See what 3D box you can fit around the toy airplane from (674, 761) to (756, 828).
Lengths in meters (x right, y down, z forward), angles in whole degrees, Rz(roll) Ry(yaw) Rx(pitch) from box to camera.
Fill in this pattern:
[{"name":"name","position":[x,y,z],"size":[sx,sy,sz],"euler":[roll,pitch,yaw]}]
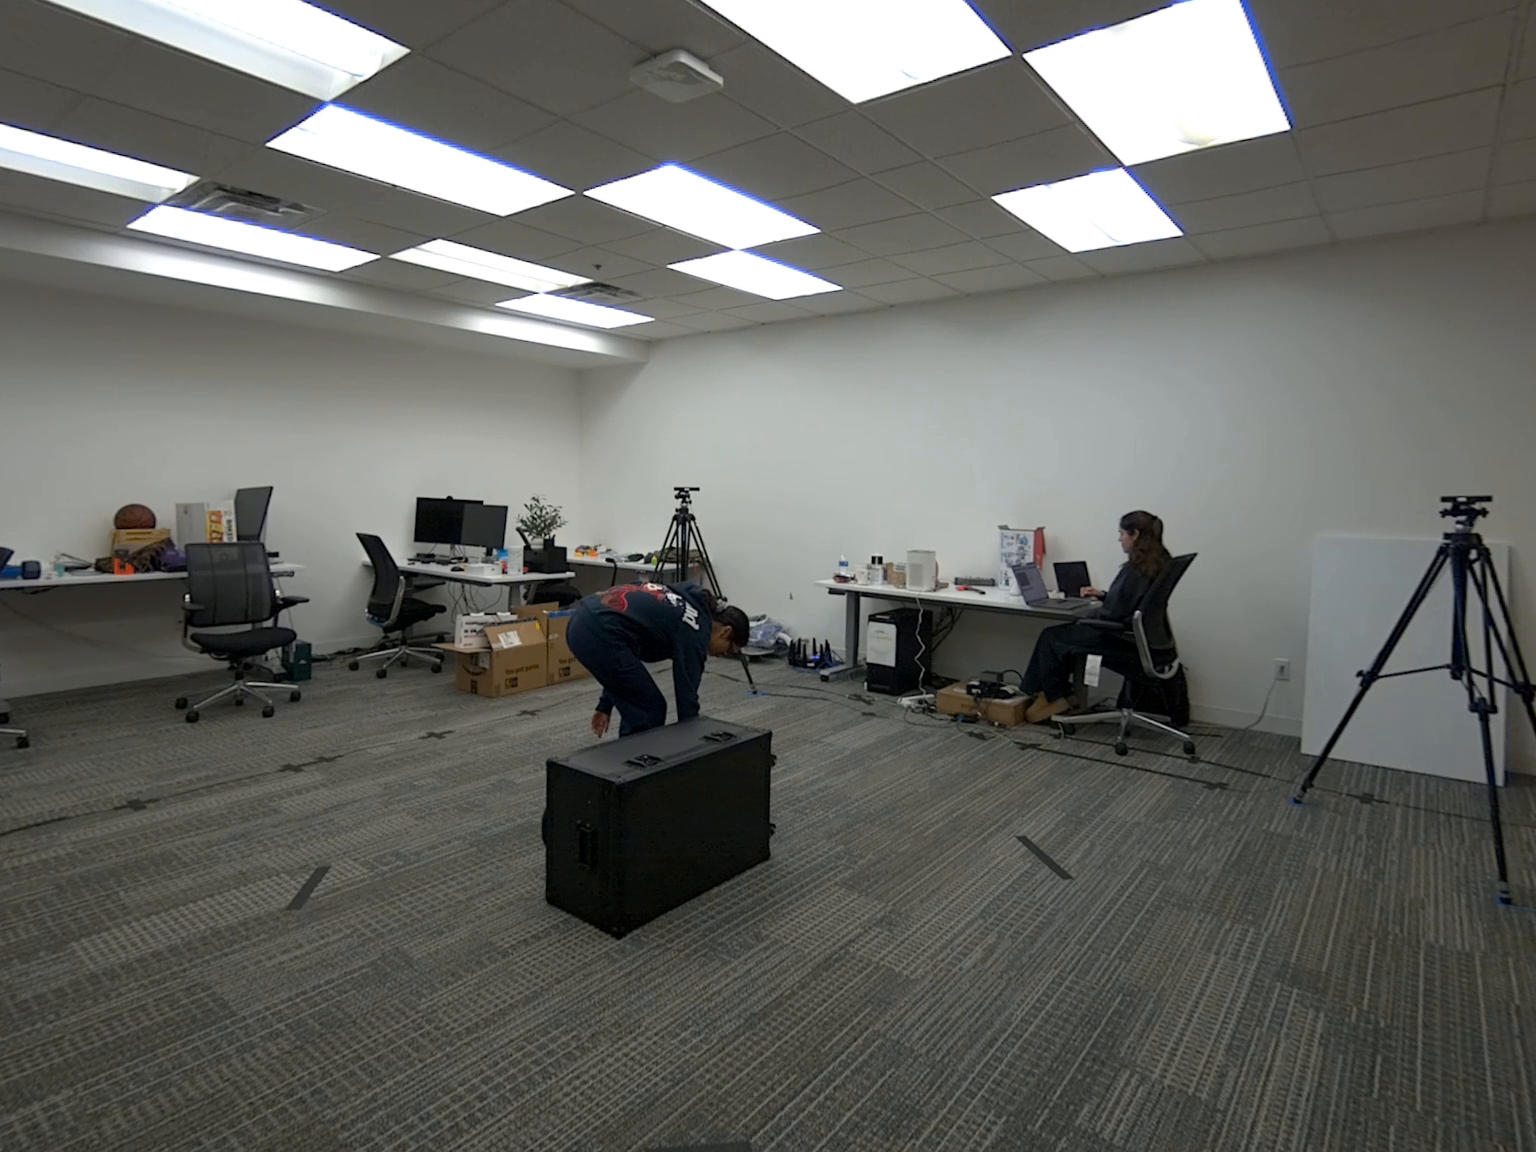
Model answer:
[{"name":"toy airplane","position":[-0.234,0.940,3.653],"size":[0.253,0.155,0.259],"euler":[-5,8,-30]}]
